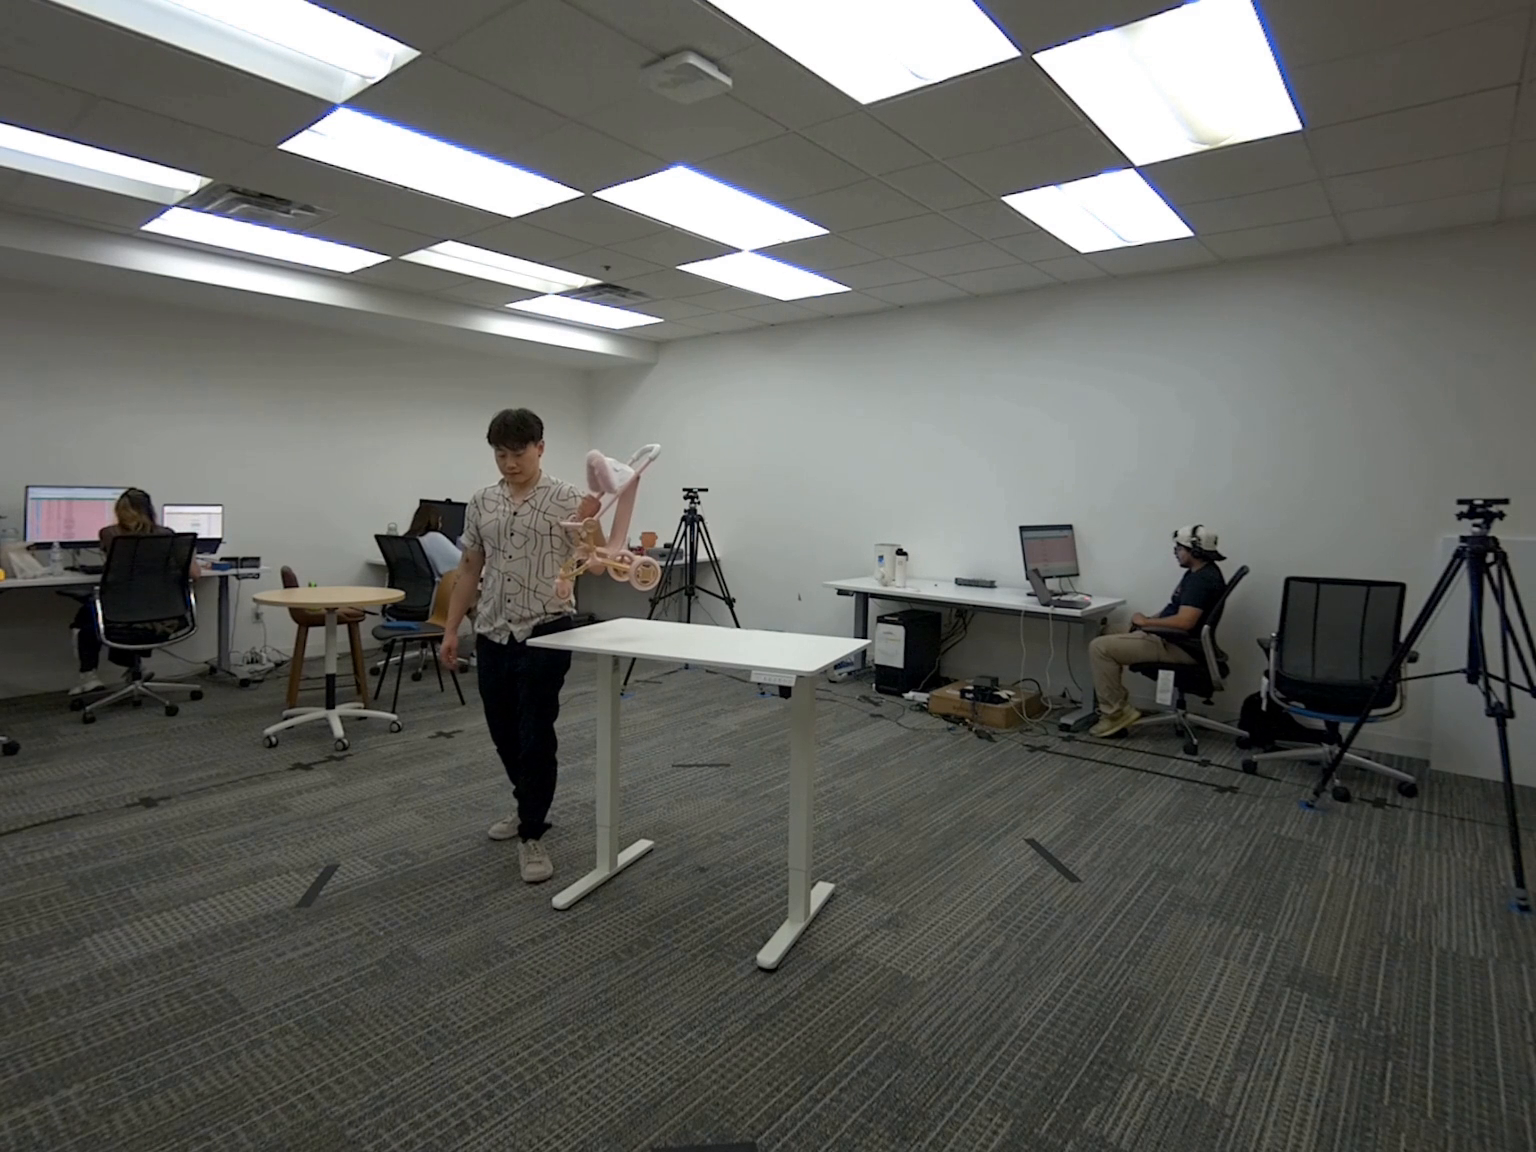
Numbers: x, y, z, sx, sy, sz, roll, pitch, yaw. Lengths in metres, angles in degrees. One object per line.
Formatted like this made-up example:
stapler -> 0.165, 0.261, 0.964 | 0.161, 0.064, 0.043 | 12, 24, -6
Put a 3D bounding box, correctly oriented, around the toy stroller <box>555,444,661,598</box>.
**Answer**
toy stroller -> -0.564, -0.179, 2.833 | 0.334, 0.533, 0.288 | 1, 5, -20
